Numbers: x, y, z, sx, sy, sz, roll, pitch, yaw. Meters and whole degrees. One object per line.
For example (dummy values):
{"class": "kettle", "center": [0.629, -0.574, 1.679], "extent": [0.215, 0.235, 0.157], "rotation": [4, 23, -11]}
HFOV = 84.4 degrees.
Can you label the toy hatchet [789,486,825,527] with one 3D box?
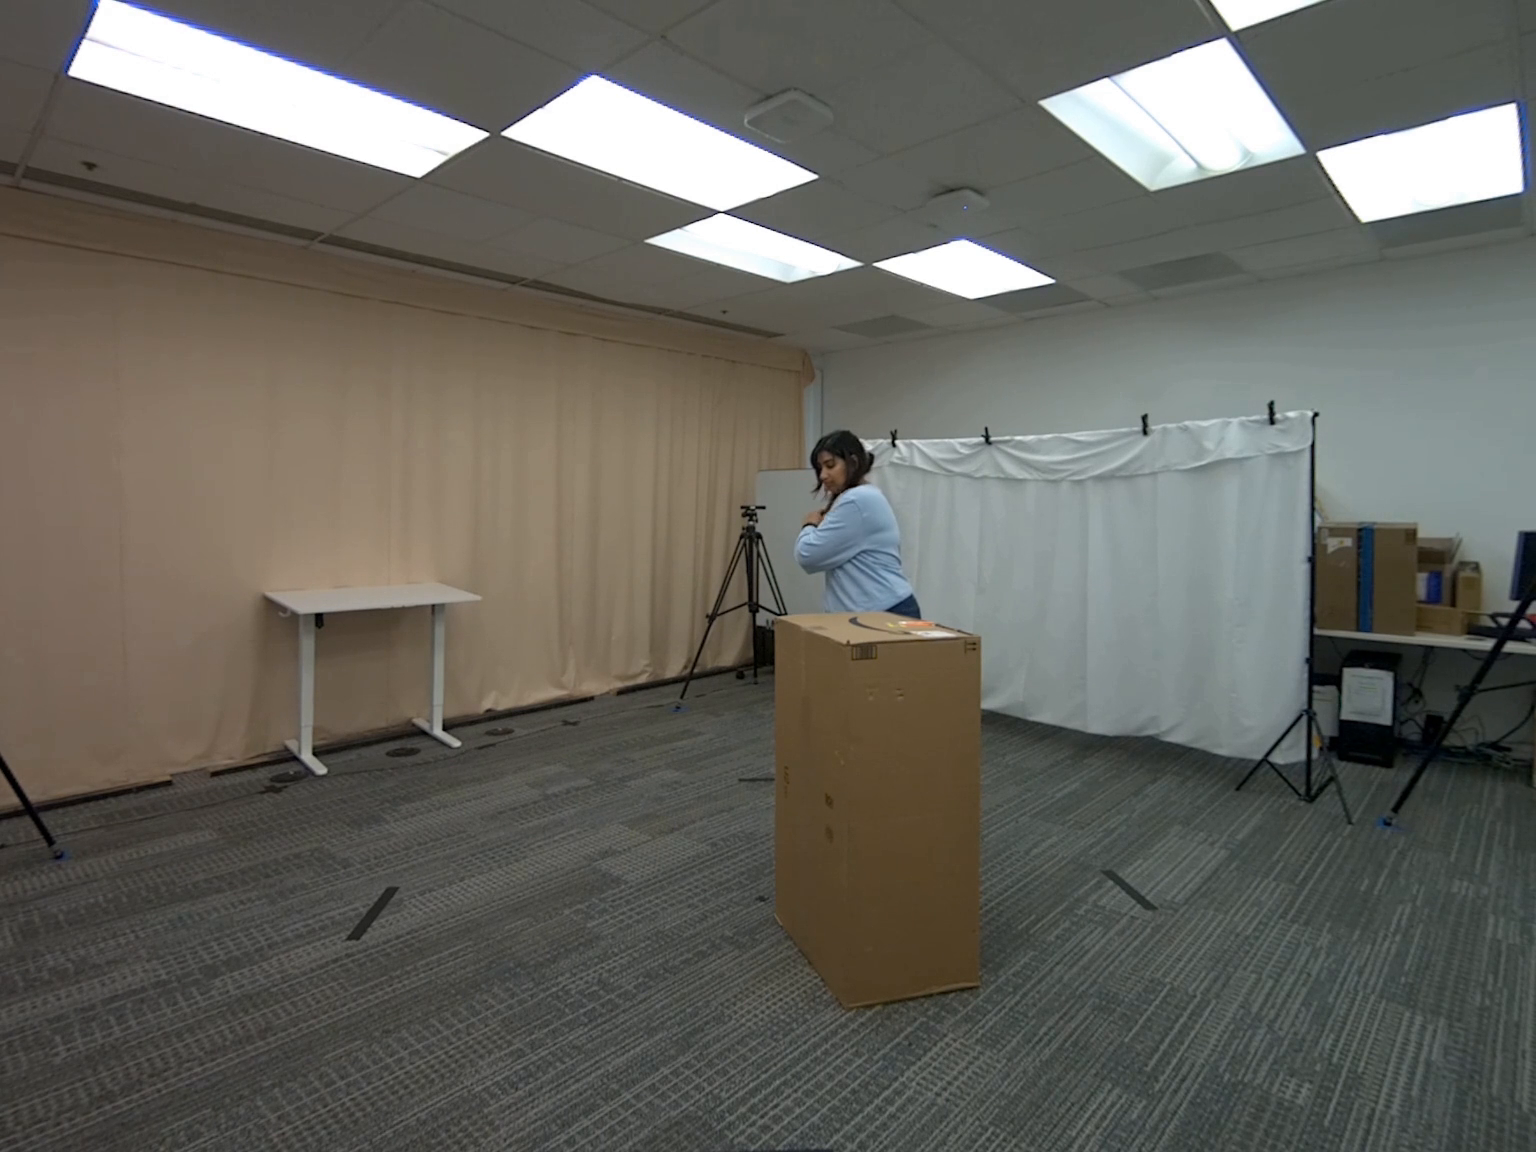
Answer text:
{"class": "toy hatchet", "center": [0.236, -0.322, 3.648], "extent": [0.270, 0.133, 0.029], "rotation": [-42, -12, -1]}
